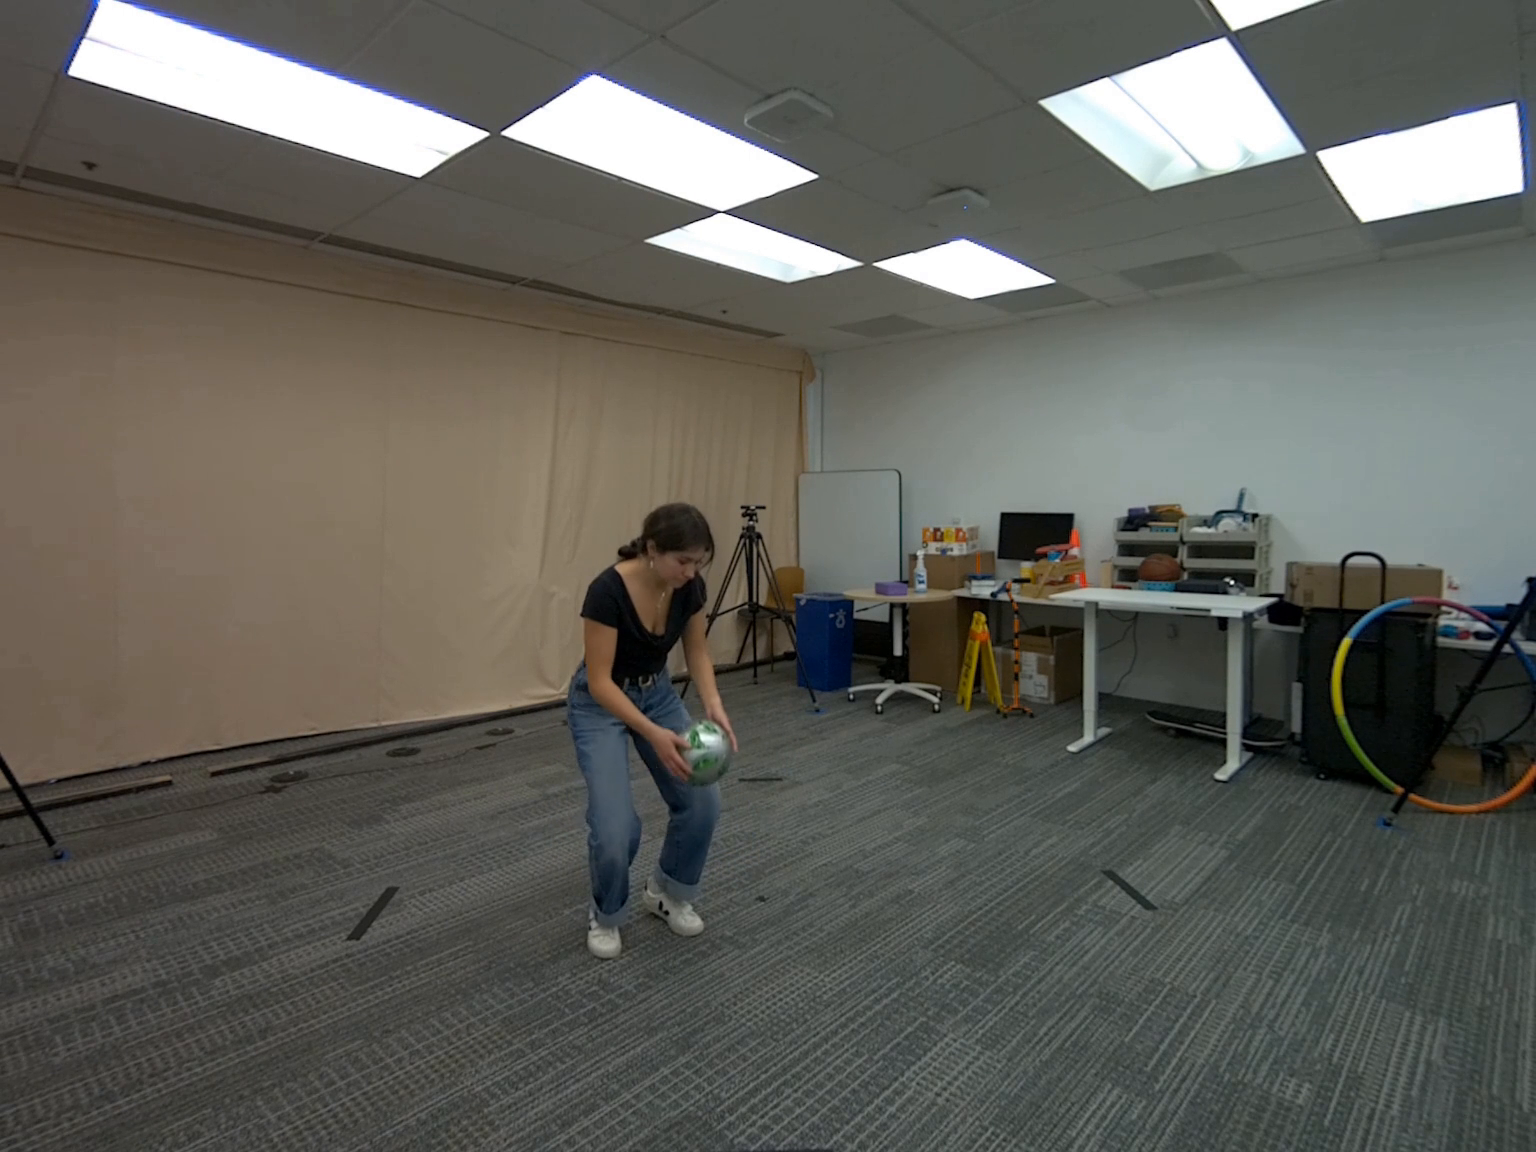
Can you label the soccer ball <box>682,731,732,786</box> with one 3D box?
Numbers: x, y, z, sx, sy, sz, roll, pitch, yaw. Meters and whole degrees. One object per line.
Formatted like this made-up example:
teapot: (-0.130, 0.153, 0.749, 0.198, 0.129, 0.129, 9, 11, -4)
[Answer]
soccer ball: (-0.215, 0.591, 2.448, 0.187, 0.187, 0.188, 0, 4, -2)
